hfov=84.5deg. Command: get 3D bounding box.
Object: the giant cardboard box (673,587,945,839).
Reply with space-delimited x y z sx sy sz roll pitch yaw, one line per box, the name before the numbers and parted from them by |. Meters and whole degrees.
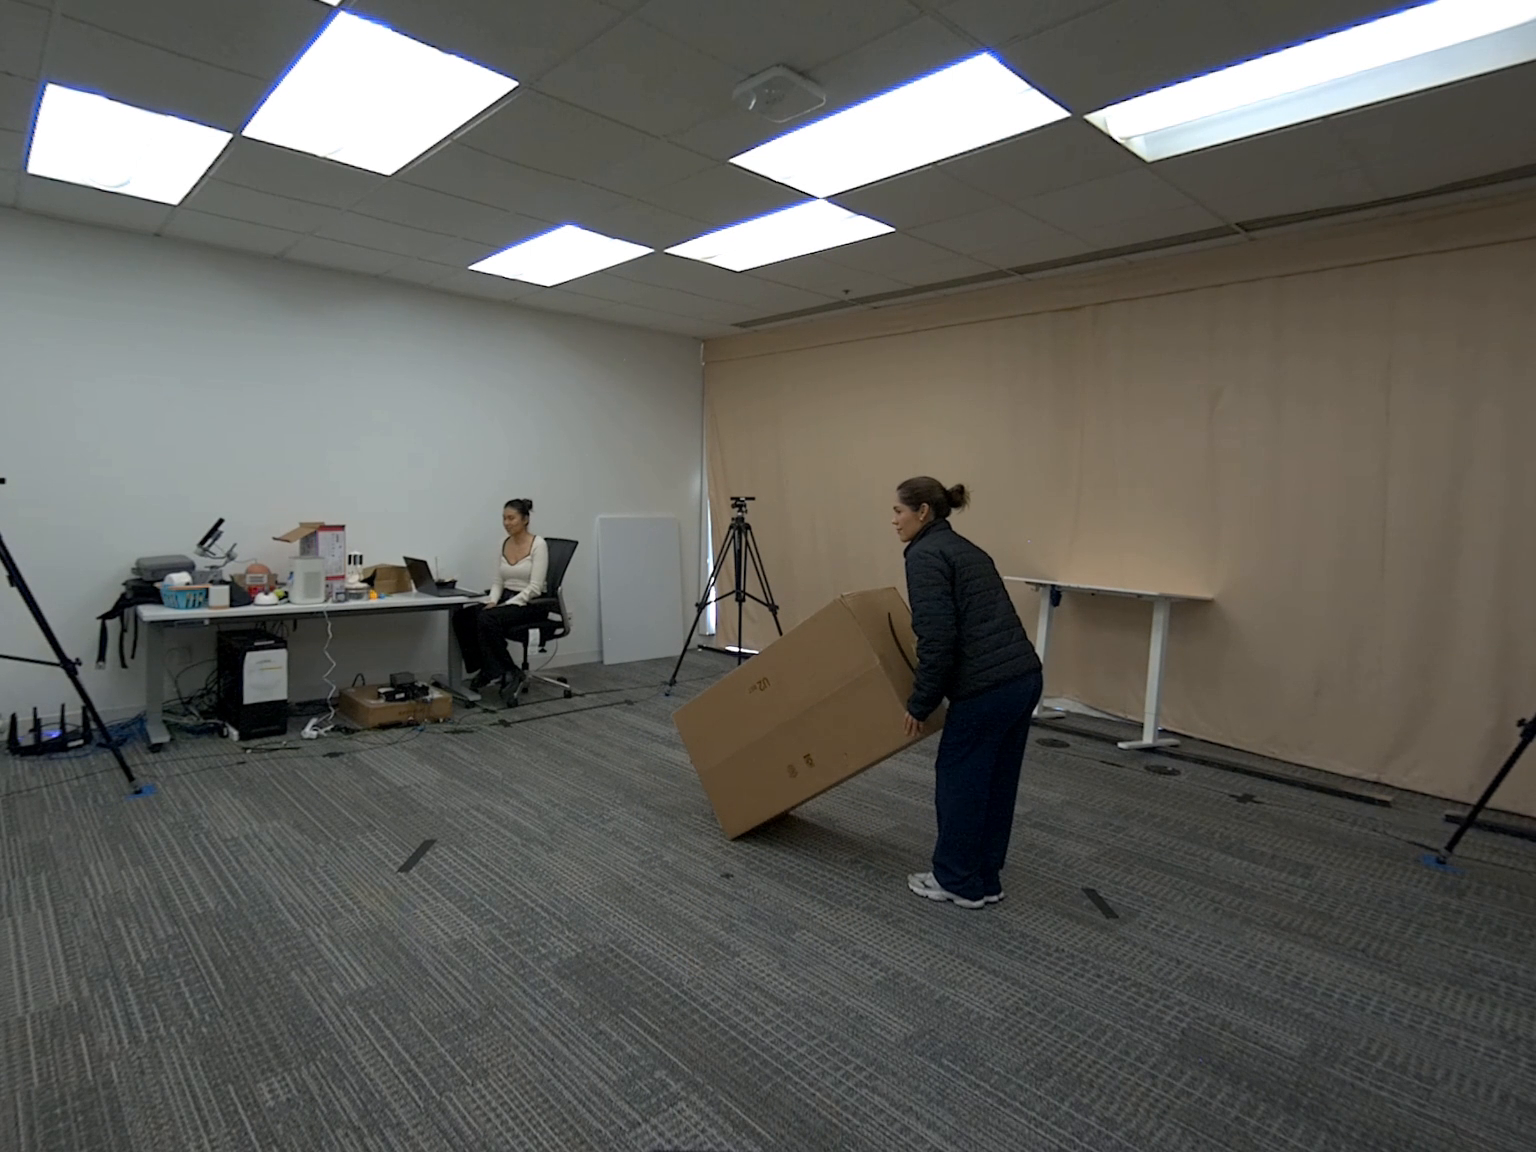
giant cardboard box | 0.174 0.557 3.400 1.031 0.594 0.437 -37 -20 31
